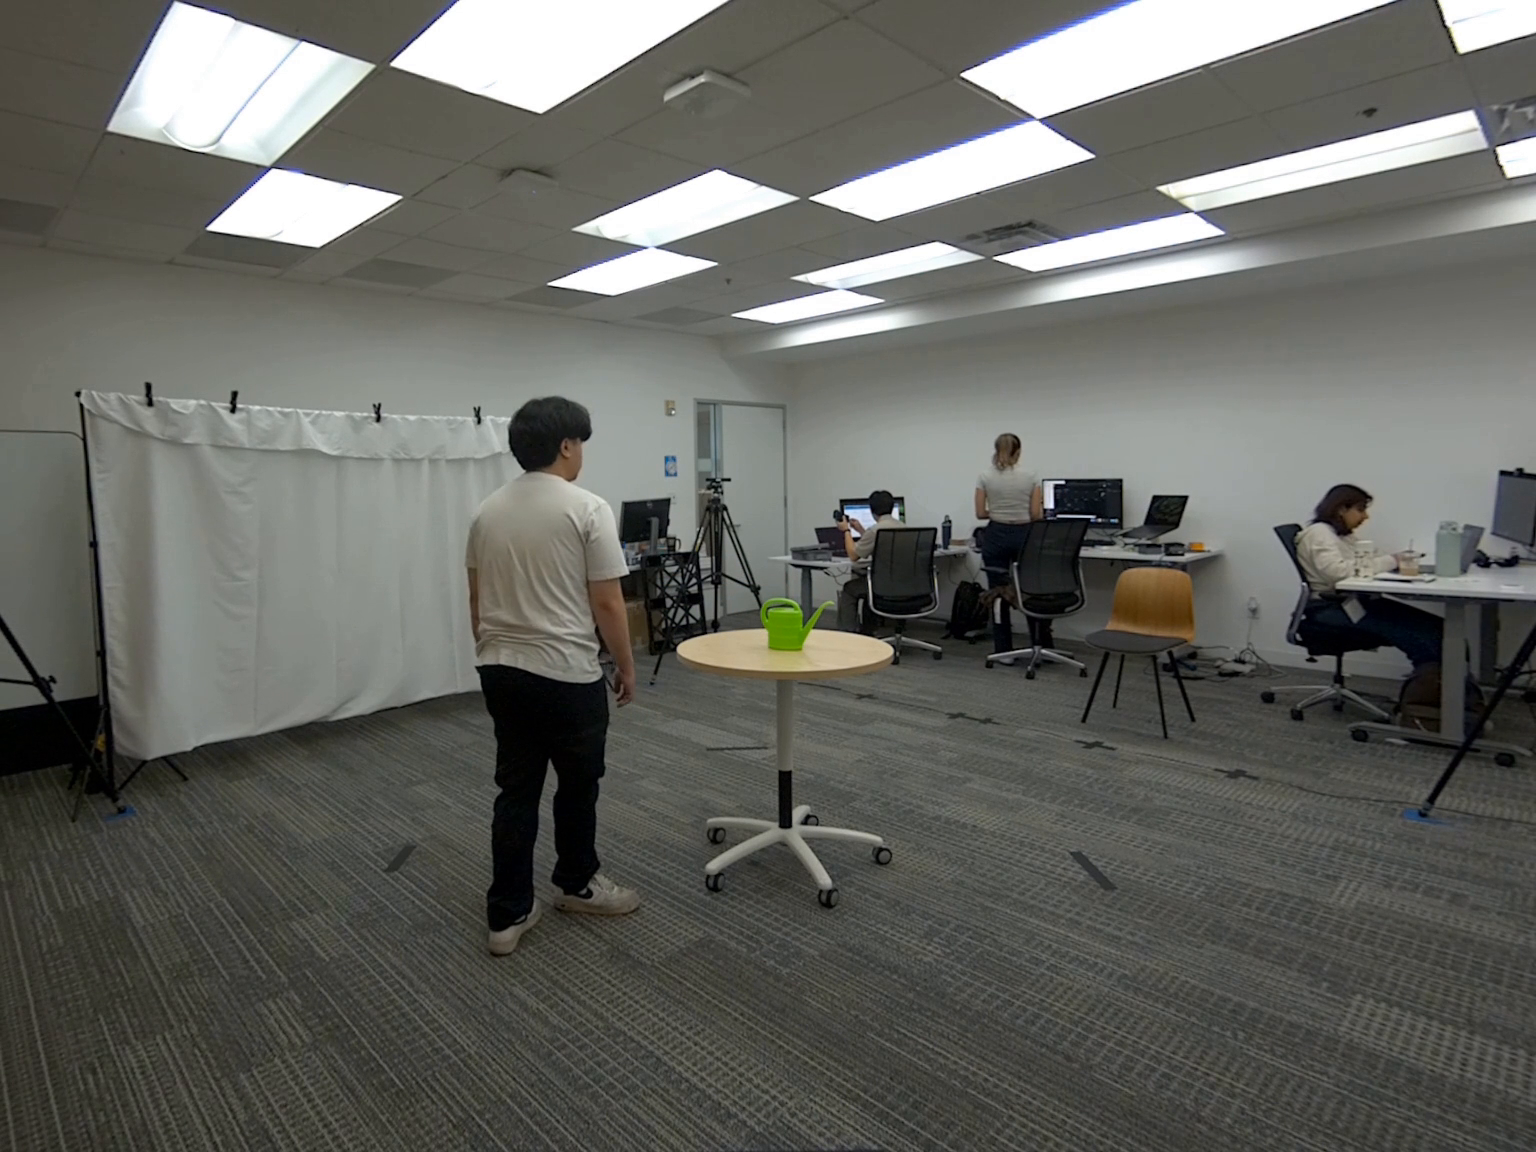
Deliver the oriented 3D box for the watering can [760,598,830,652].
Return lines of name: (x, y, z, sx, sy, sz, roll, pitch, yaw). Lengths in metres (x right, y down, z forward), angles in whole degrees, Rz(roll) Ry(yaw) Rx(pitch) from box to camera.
watering can: (0.099, 0.171, 2.997, 0.287, 0.176, 0.095, 4, 6, 44)
